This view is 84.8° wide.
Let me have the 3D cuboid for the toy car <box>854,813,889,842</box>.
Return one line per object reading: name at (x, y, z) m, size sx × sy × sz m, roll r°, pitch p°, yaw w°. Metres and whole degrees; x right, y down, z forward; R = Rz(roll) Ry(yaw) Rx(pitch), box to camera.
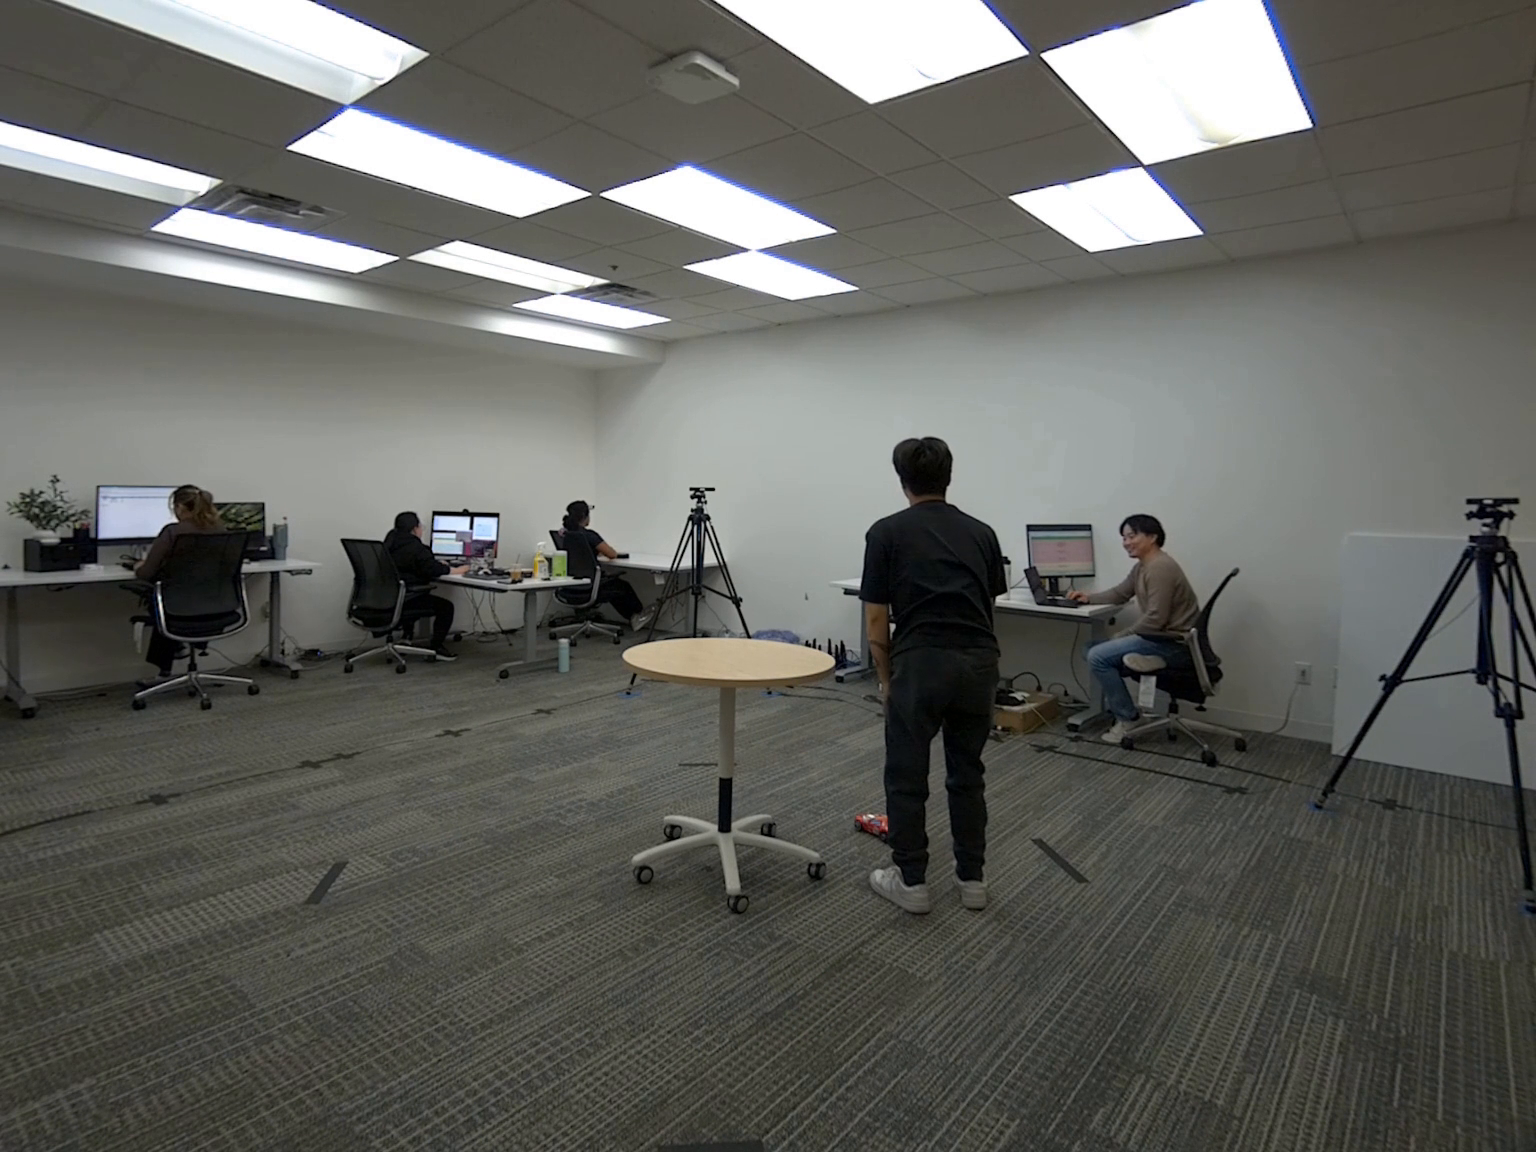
toy car at (0.466, 1.019, 3.456) m, size 0.126 × 0.084 × 0.261 m, roll 0°, pitch -5°, yaw -39°
